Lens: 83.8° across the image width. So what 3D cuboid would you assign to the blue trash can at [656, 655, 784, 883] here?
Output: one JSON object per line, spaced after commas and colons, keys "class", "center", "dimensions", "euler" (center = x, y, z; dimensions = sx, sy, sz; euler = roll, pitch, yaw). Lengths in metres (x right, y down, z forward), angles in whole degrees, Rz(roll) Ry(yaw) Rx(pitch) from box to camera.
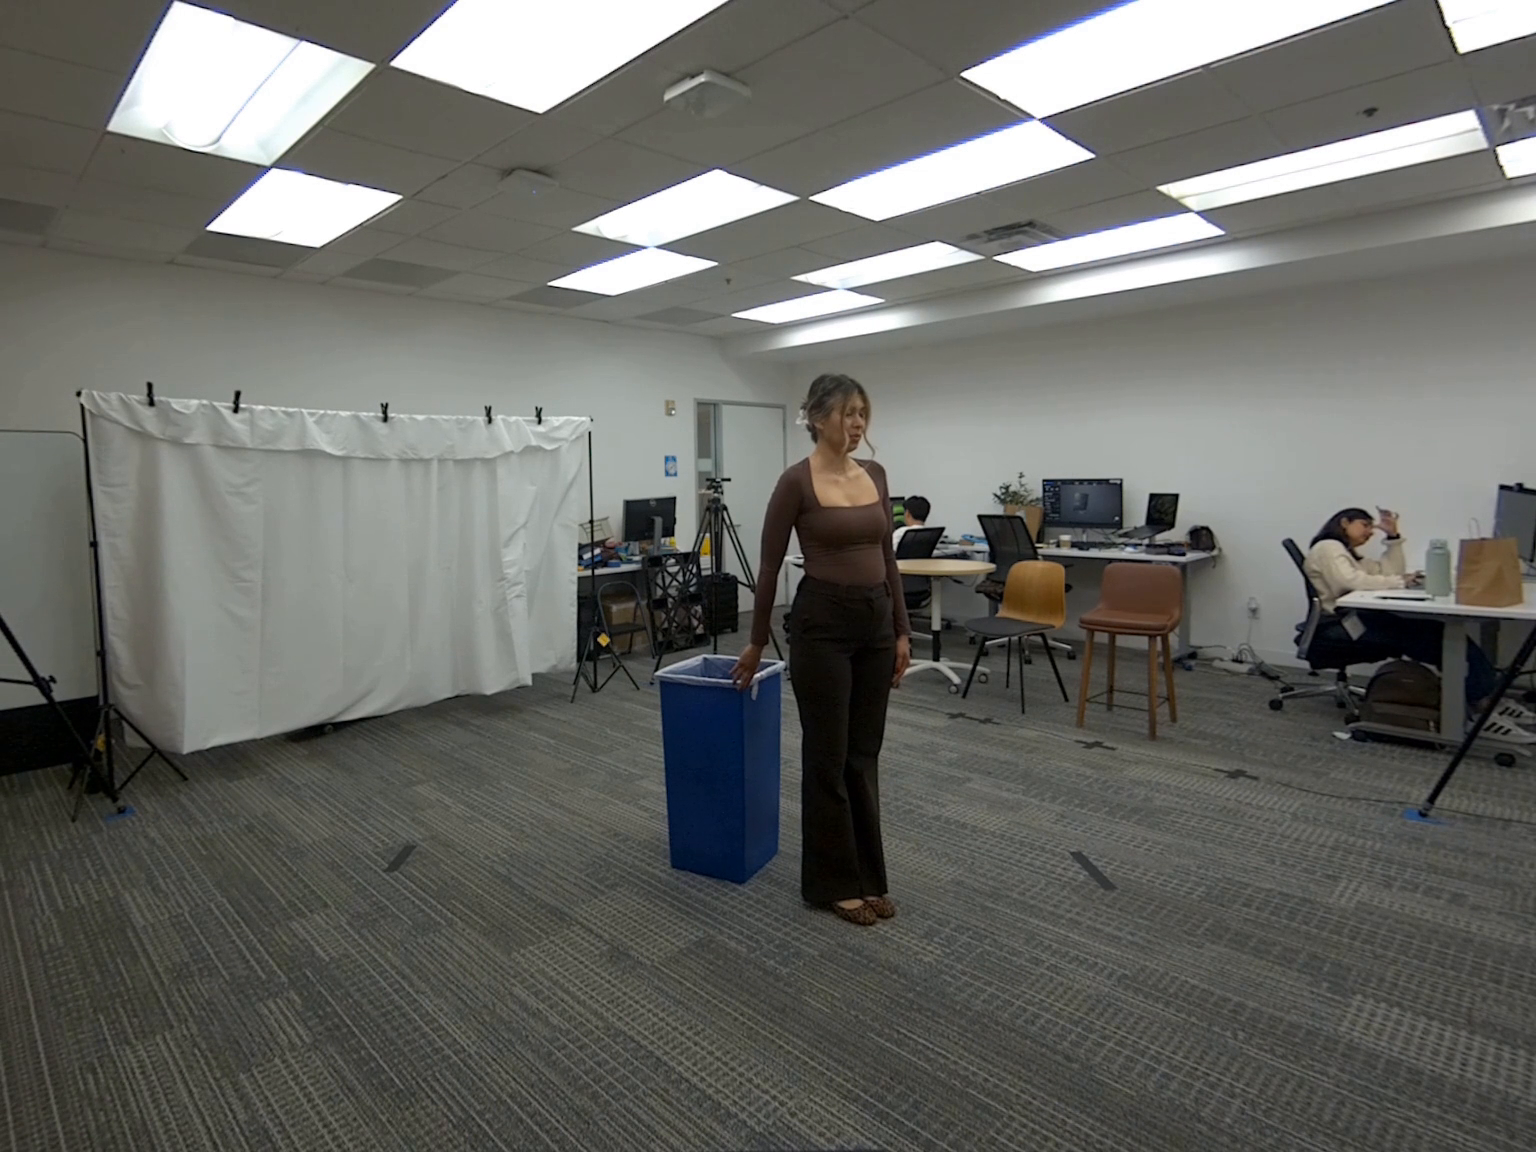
{"class": "blue trash can", "center": [-0.157, 0.684, 3.115], "dimensions": [0.387, 0.712, 0.366], "euler": [1, 3, 26]}
